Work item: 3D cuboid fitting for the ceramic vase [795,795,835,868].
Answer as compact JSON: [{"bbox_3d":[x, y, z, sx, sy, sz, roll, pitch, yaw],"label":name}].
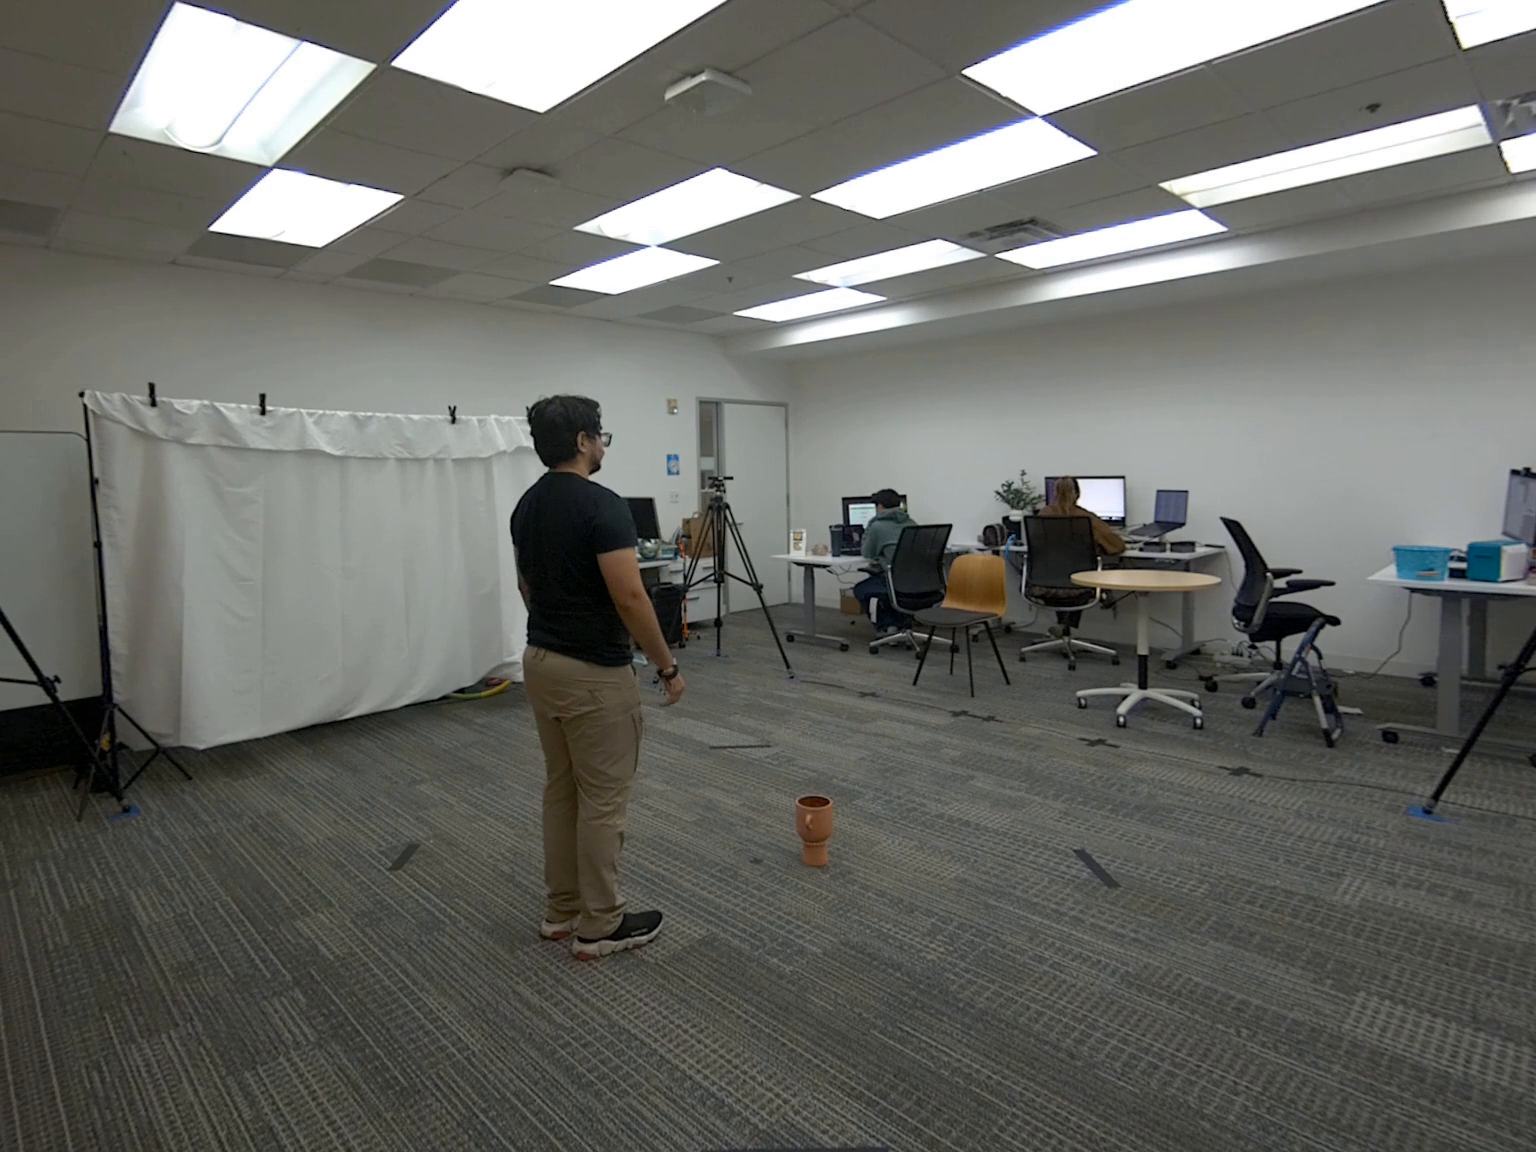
[{"bbox_3d":[0.174,0.922,3.093,0.155,0.219,0.138,-4,5,-32],"label":"ceramic vase"}]
